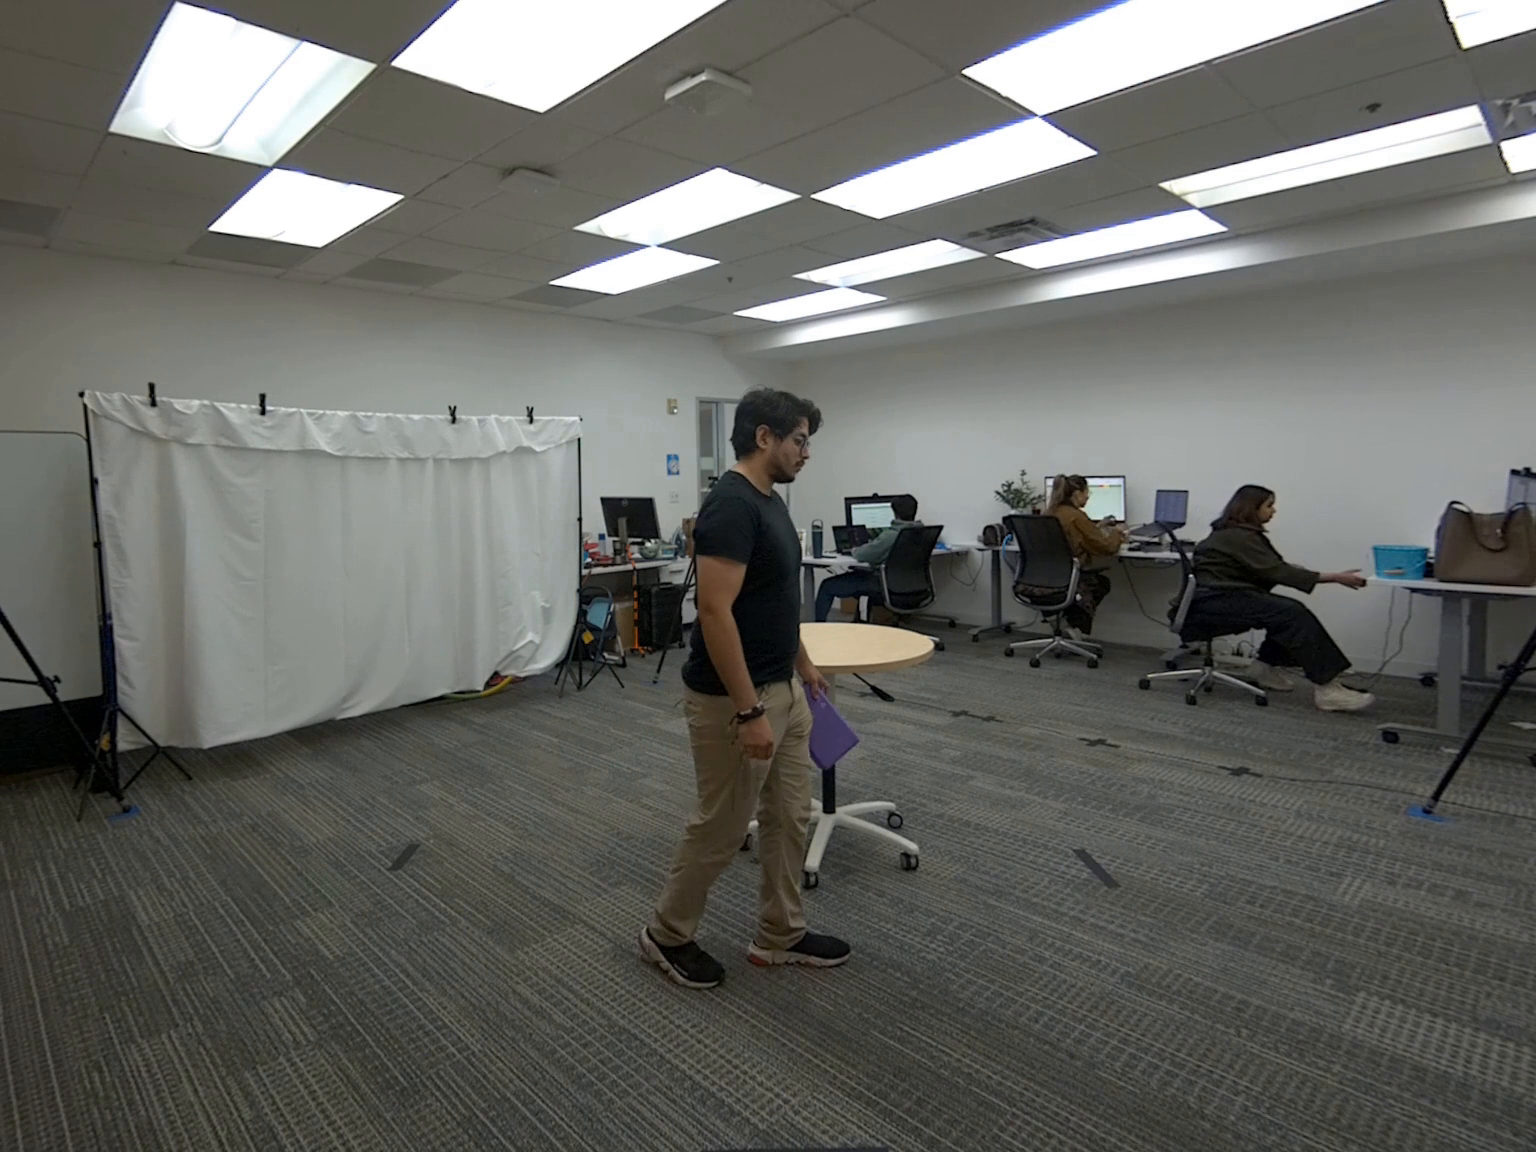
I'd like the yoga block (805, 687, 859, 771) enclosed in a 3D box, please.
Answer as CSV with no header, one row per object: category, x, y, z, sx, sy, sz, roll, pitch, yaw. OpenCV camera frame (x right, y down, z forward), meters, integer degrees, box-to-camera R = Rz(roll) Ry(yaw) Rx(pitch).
yoga block,0.158,0.464,2.623,0.148,0.232,0.076,-37,-8,-9
